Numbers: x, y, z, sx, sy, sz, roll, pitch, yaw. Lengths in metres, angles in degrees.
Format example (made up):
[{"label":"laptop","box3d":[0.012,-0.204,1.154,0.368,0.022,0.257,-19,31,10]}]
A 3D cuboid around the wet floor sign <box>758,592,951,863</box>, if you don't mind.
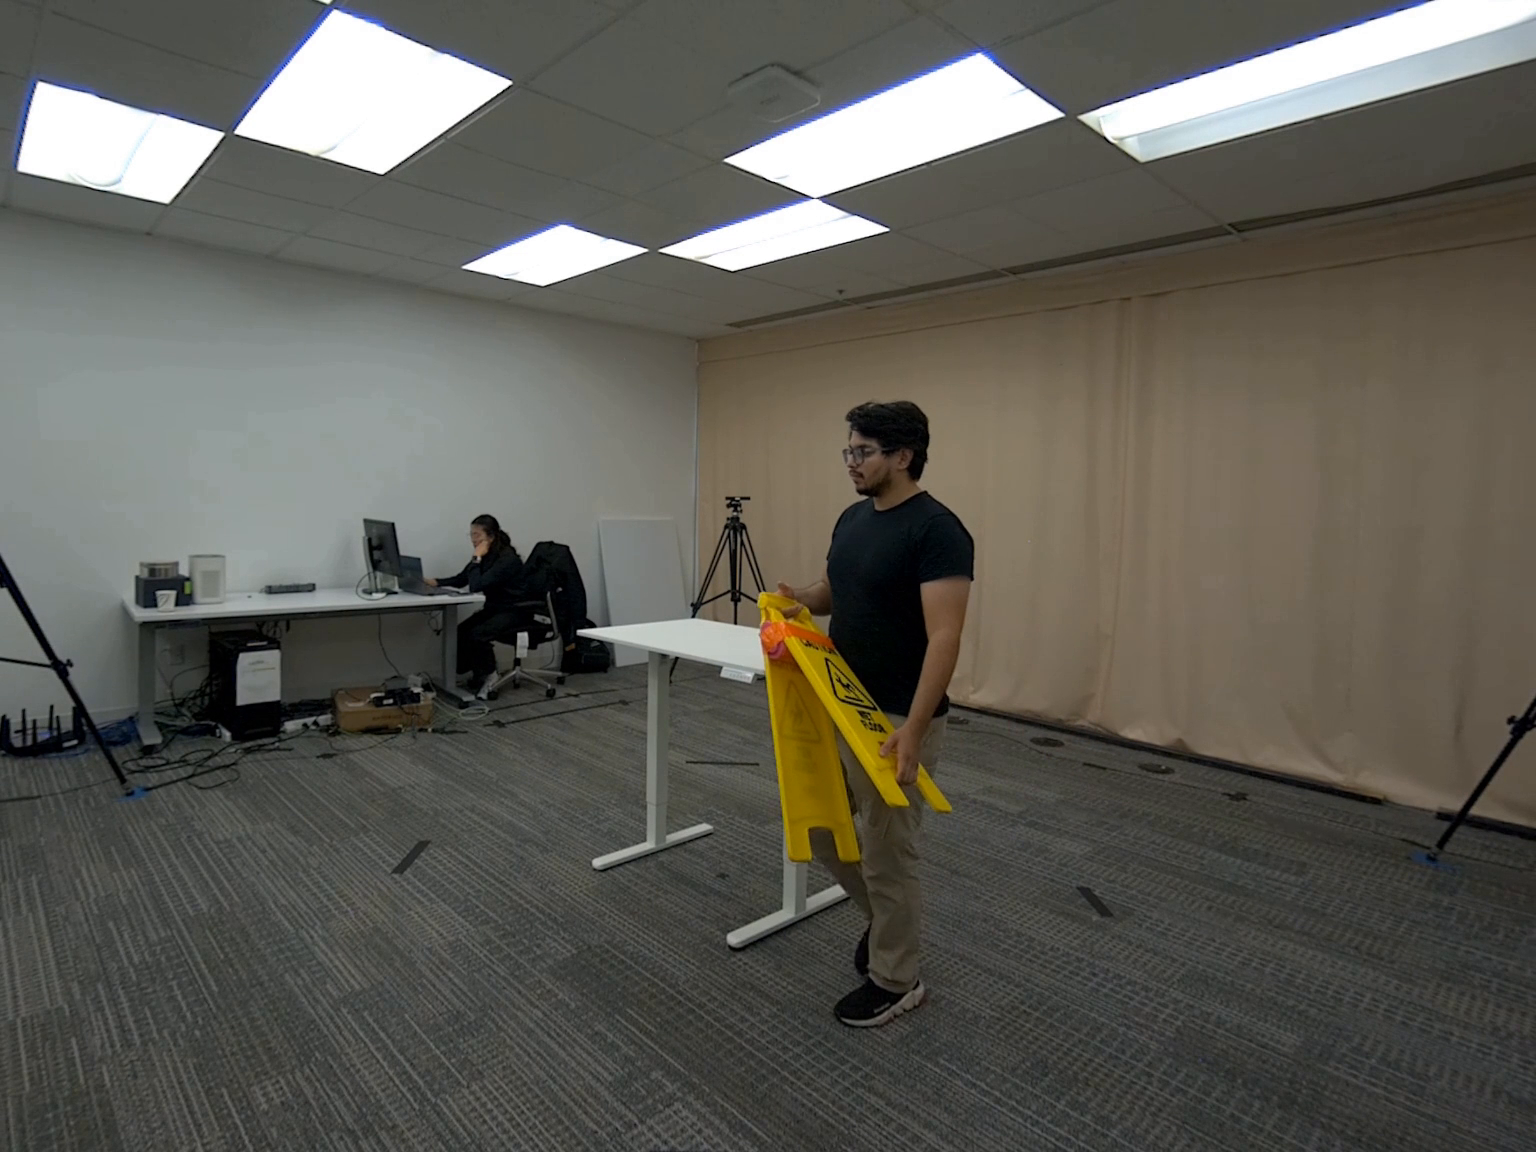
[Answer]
[{"label":"wet floor sign","box3d":[0.127,0.324,2.061,0.290,0.664,0.273,-40,-40,24]}]
